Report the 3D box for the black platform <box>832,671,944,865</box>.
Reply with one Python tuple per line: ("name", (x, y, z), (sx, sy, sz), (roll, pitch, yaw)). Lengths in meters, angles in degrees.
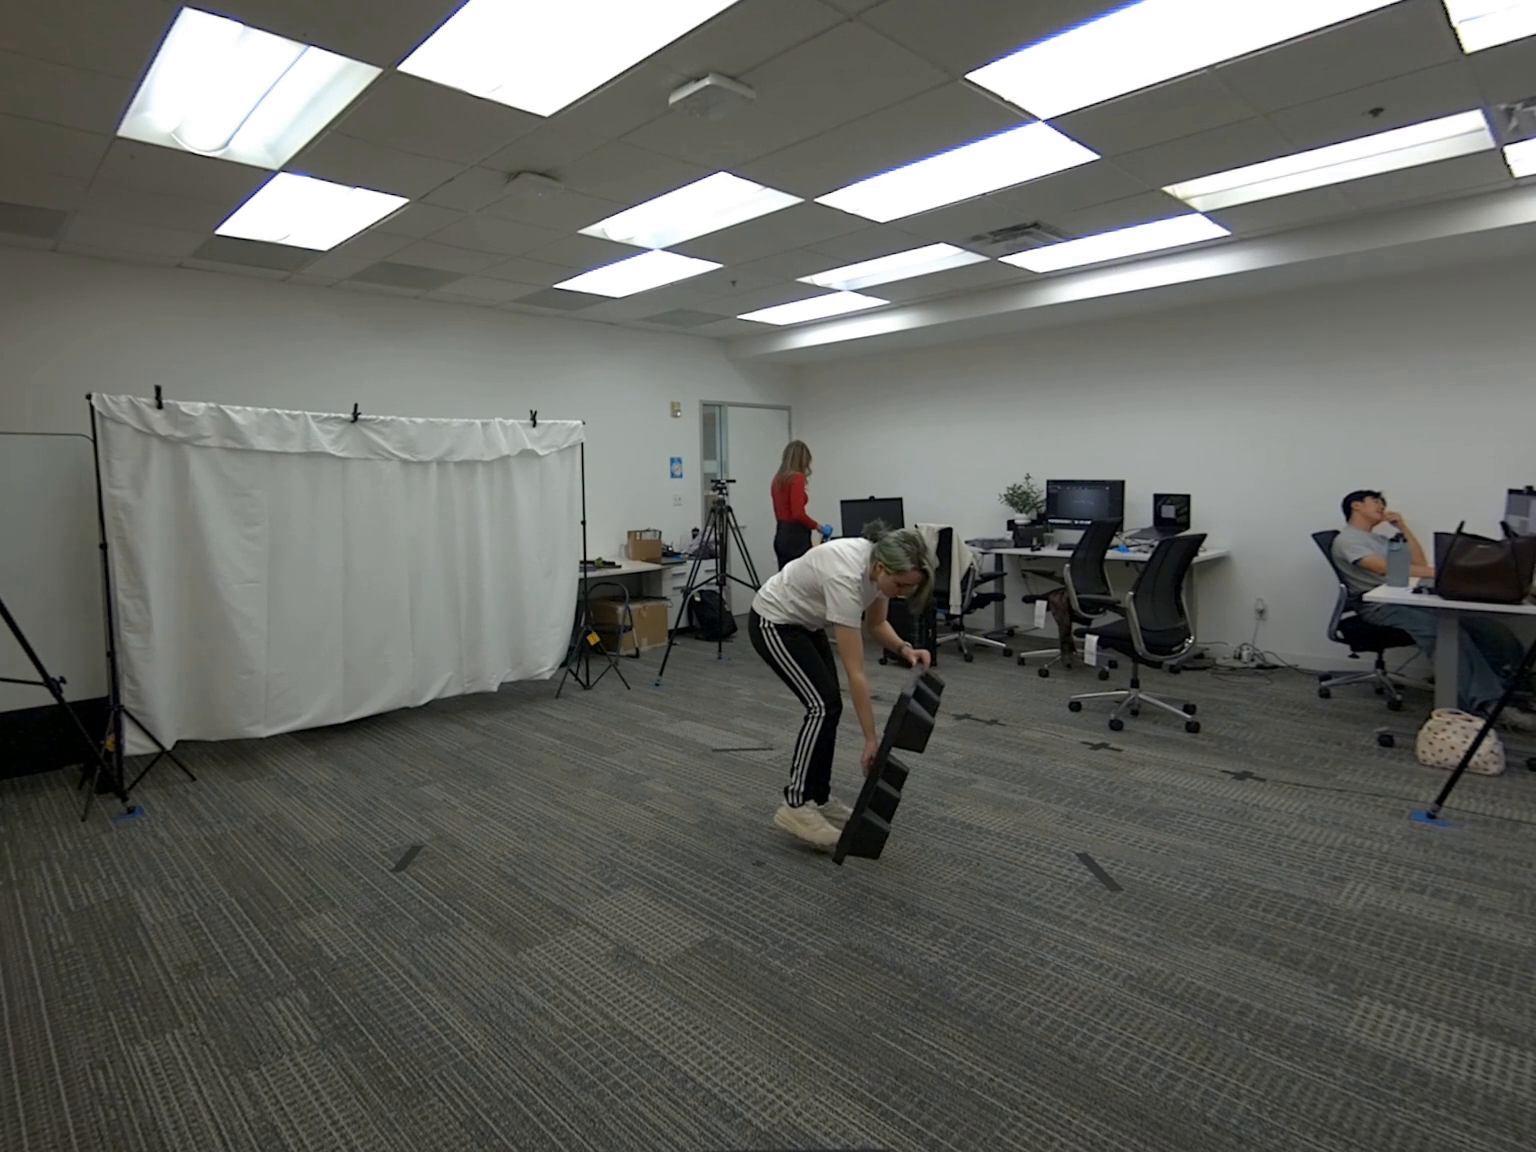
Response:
("black platform", (0.458, 0.634, 2.999), (0.146, 0.603, 0.795), (20, 7, 12))
